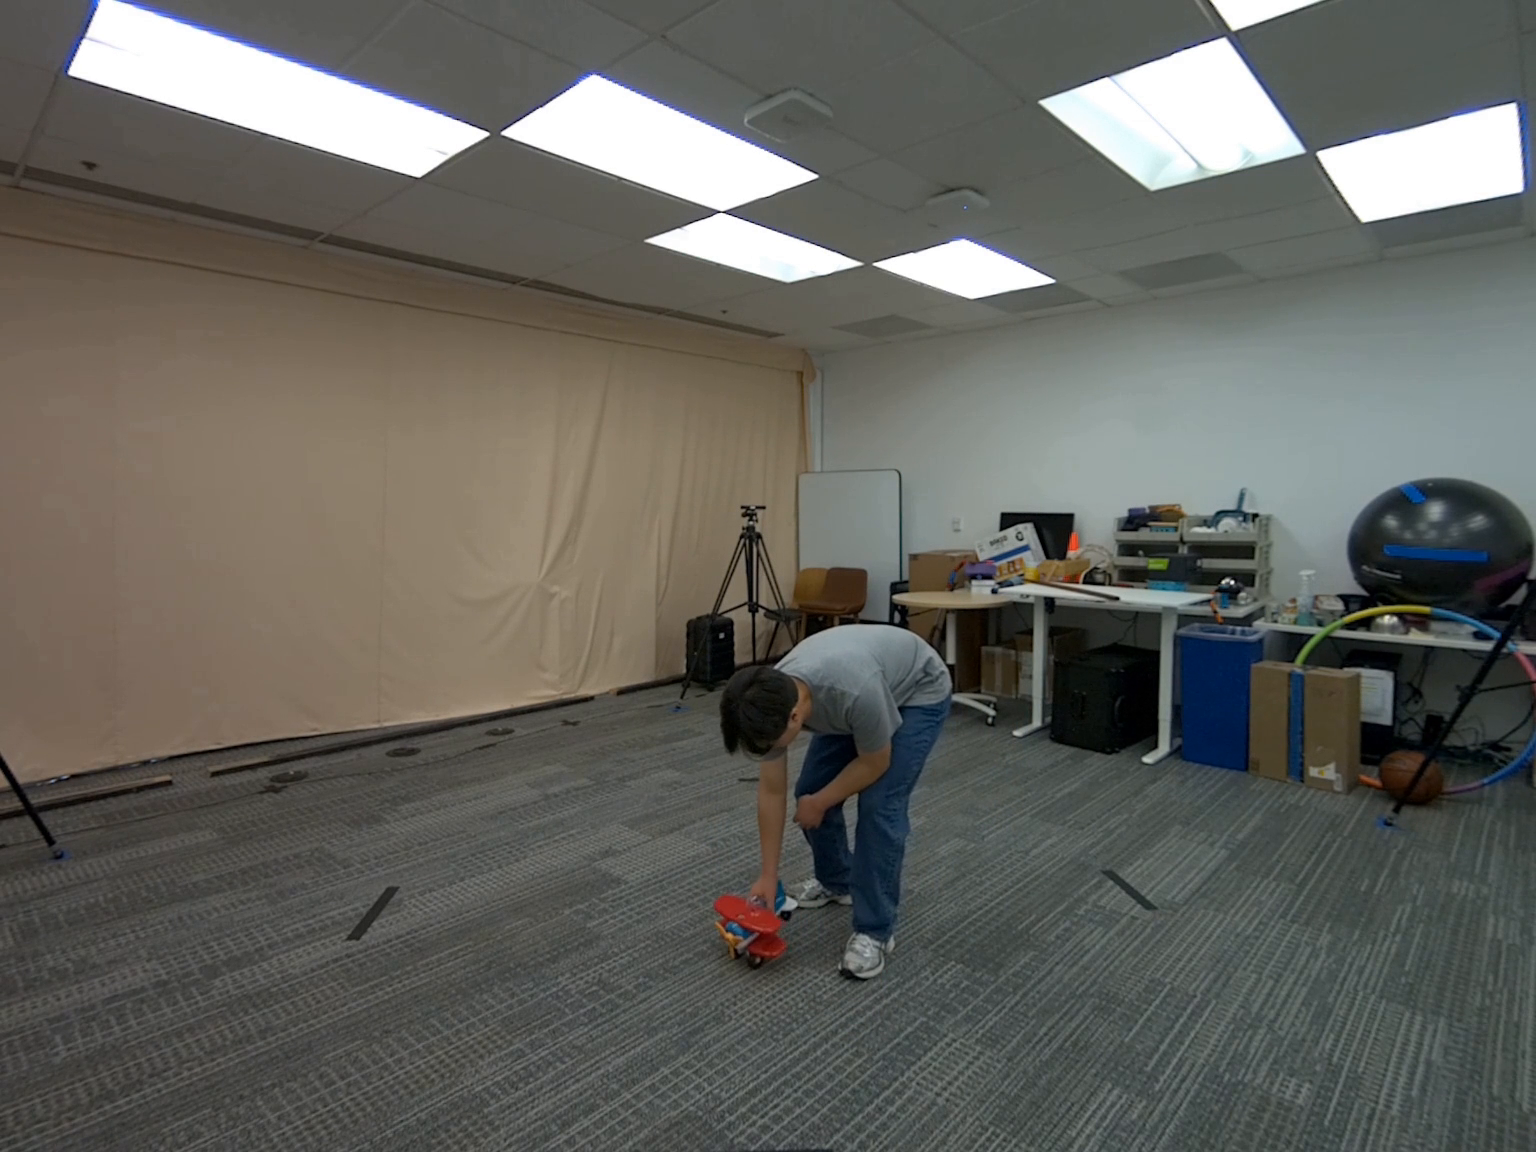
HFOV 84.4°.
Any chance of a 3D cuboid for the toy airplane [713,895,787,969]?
[{"bbox_3d":[-0.041,1.073,2.612,0.256,0.153,0.260,-12,25,20],"label":"toy airplane"}]
